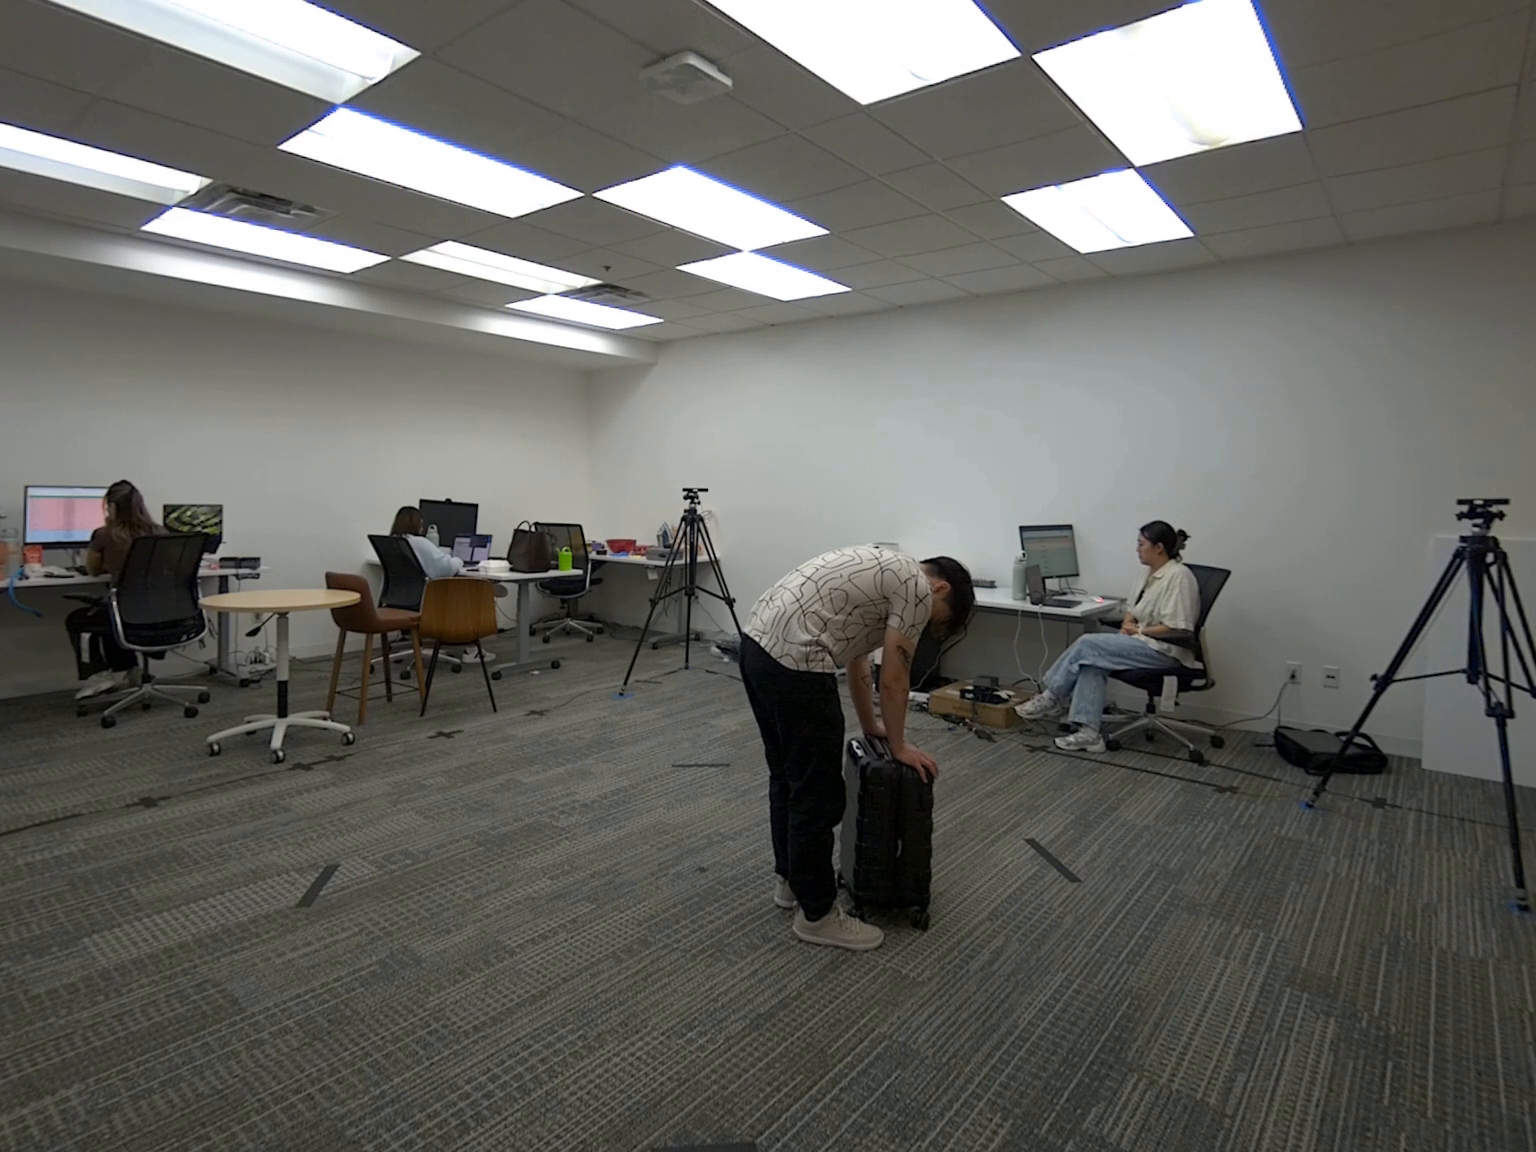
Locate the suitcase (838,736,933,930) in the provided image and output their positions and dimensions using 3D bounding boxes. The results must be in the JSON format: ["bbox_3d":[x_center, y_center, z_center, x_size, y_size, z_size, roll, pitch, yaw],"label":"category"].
[{"bbox_3d":[0.396,0.833,2.878,0.248,0.548,0.377,4,3,-3],"label":"suitcase"}]
